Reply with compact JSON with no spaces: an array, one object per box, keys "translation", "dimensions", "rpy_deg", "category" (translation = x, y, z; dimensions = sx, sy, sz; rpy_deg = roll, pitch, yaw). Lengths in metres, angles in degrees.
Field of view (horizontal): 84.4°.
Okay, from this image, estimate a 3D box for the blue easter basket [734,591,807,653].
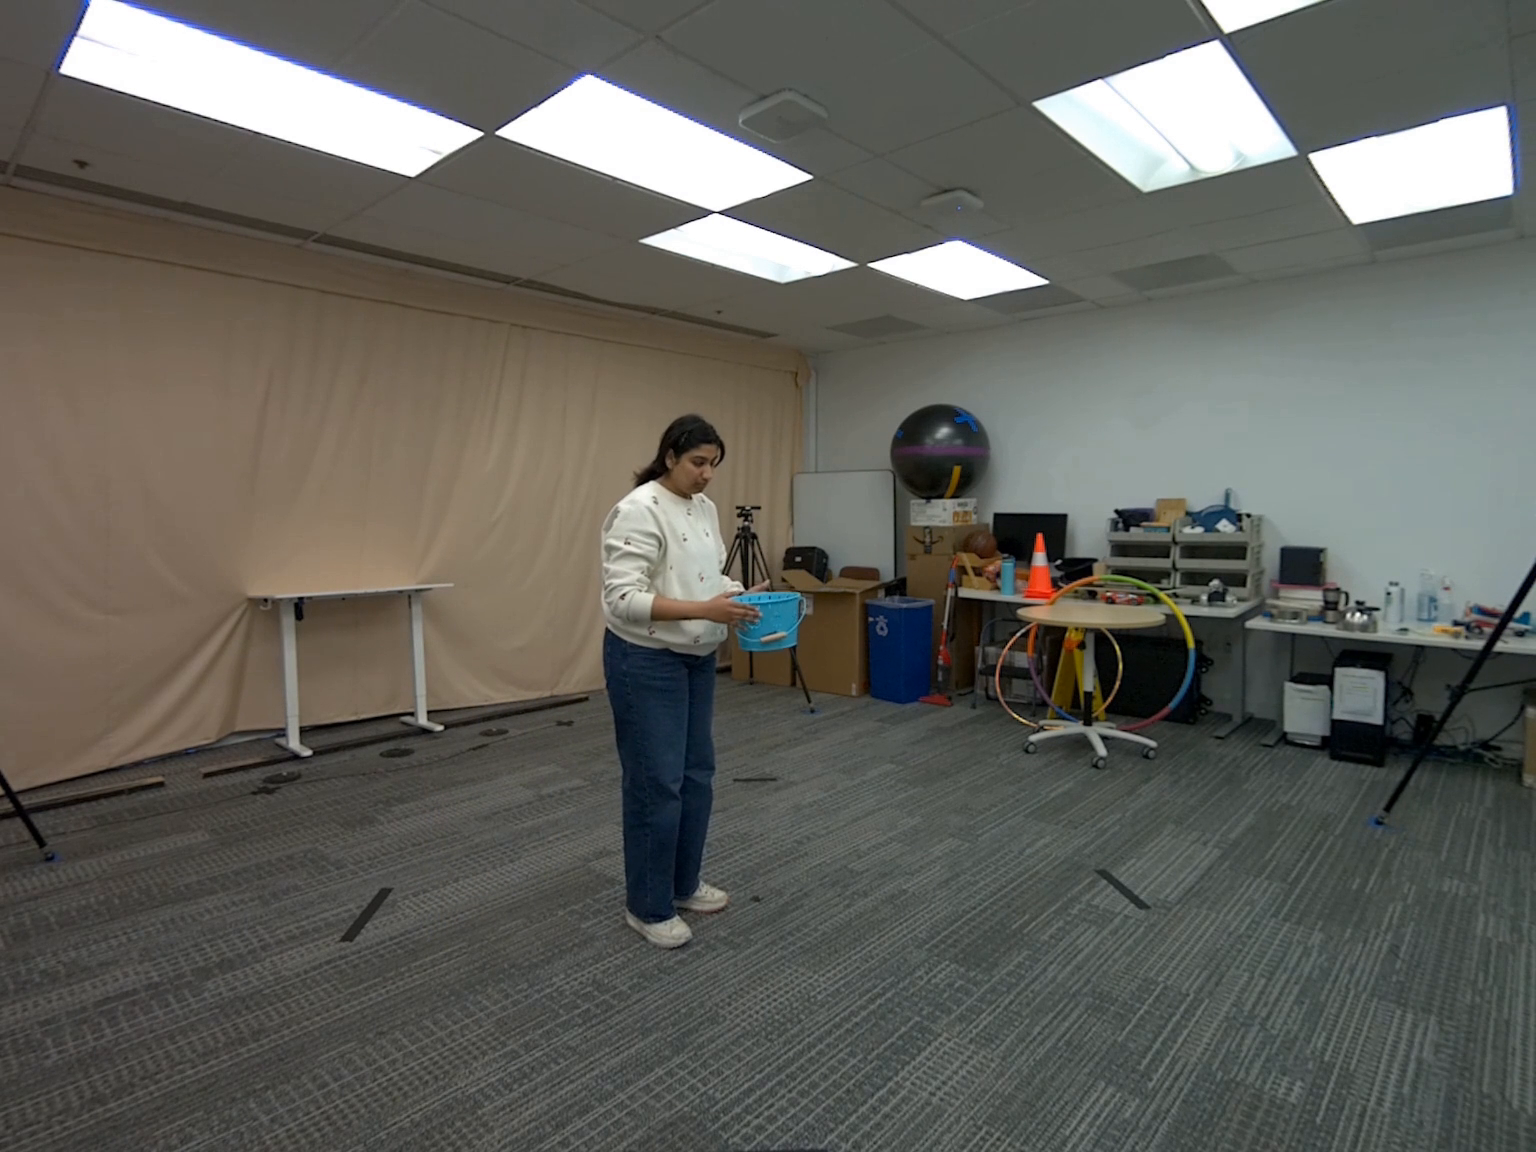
[{"translation":[-0.007,0.146,2.627],"dimensions":[0.243,0.155,0.244],"rpy_deg":[-3,3,-2],"category":"blue easter basket"}]
